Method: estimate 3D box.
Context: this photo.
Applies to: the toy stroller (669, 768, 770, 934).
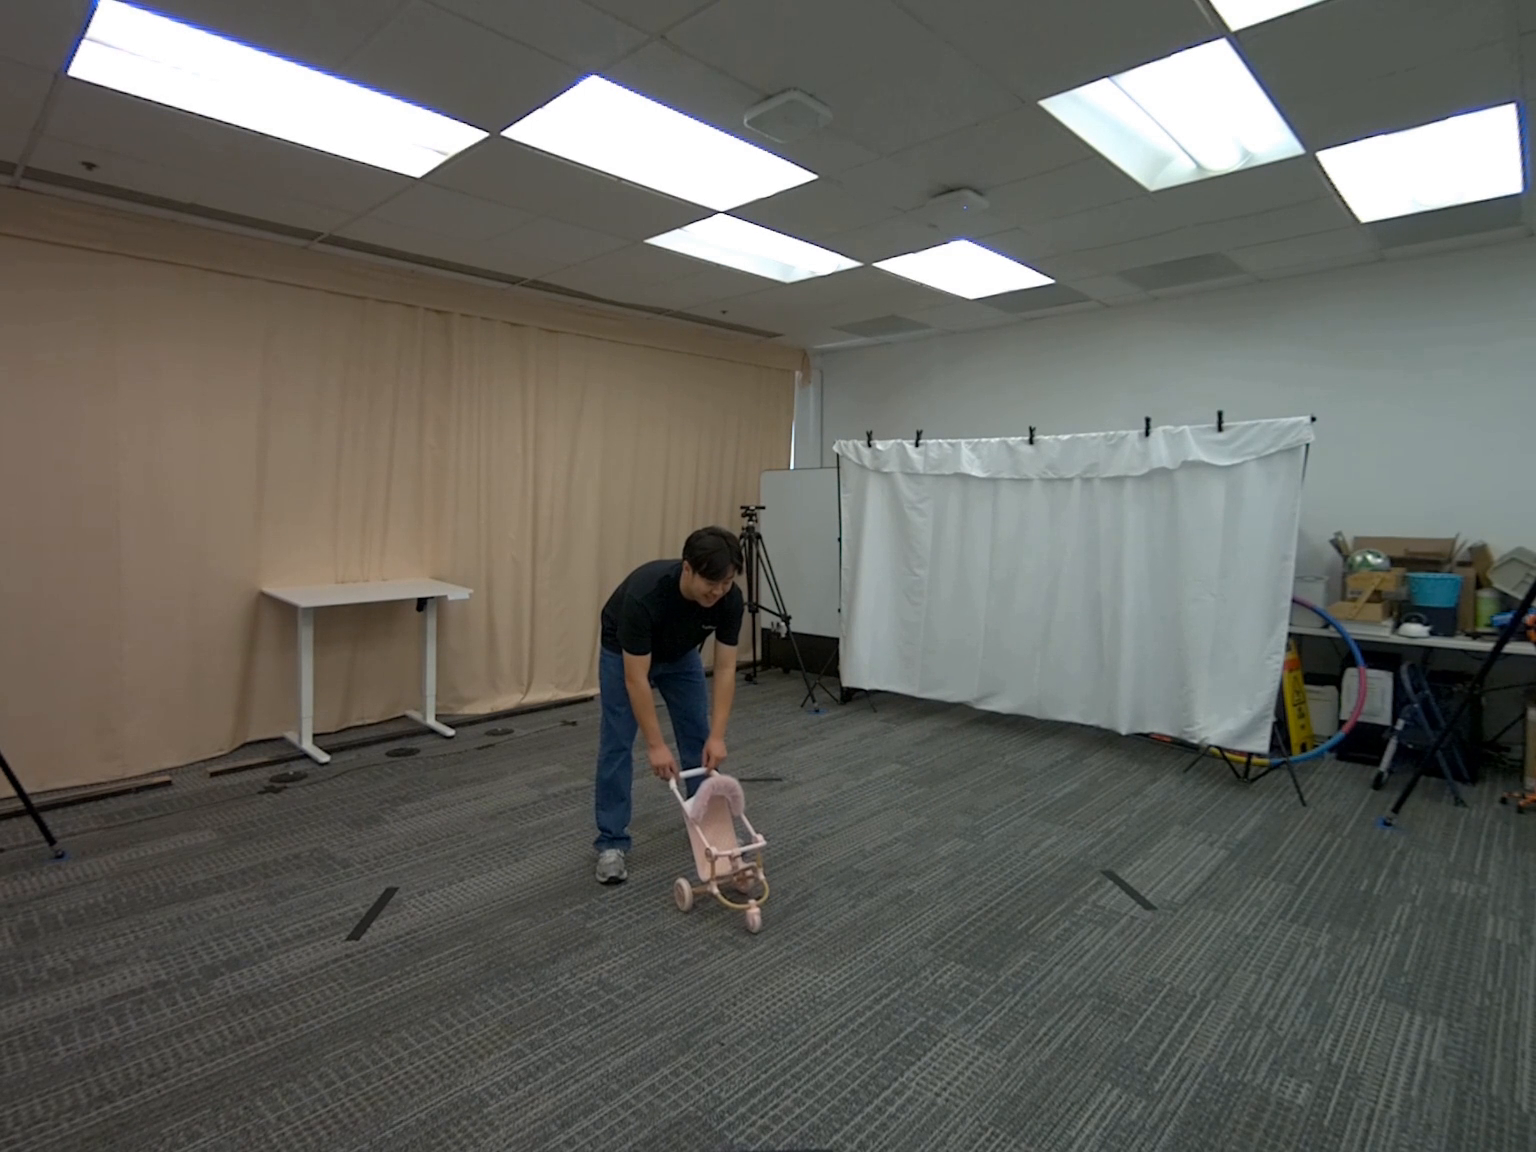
[{"bbox_3d":[-0.153,0.929,2.904,0.274,0.540,0.347,-2,-14,-29],"label":"toy stroller"}]
